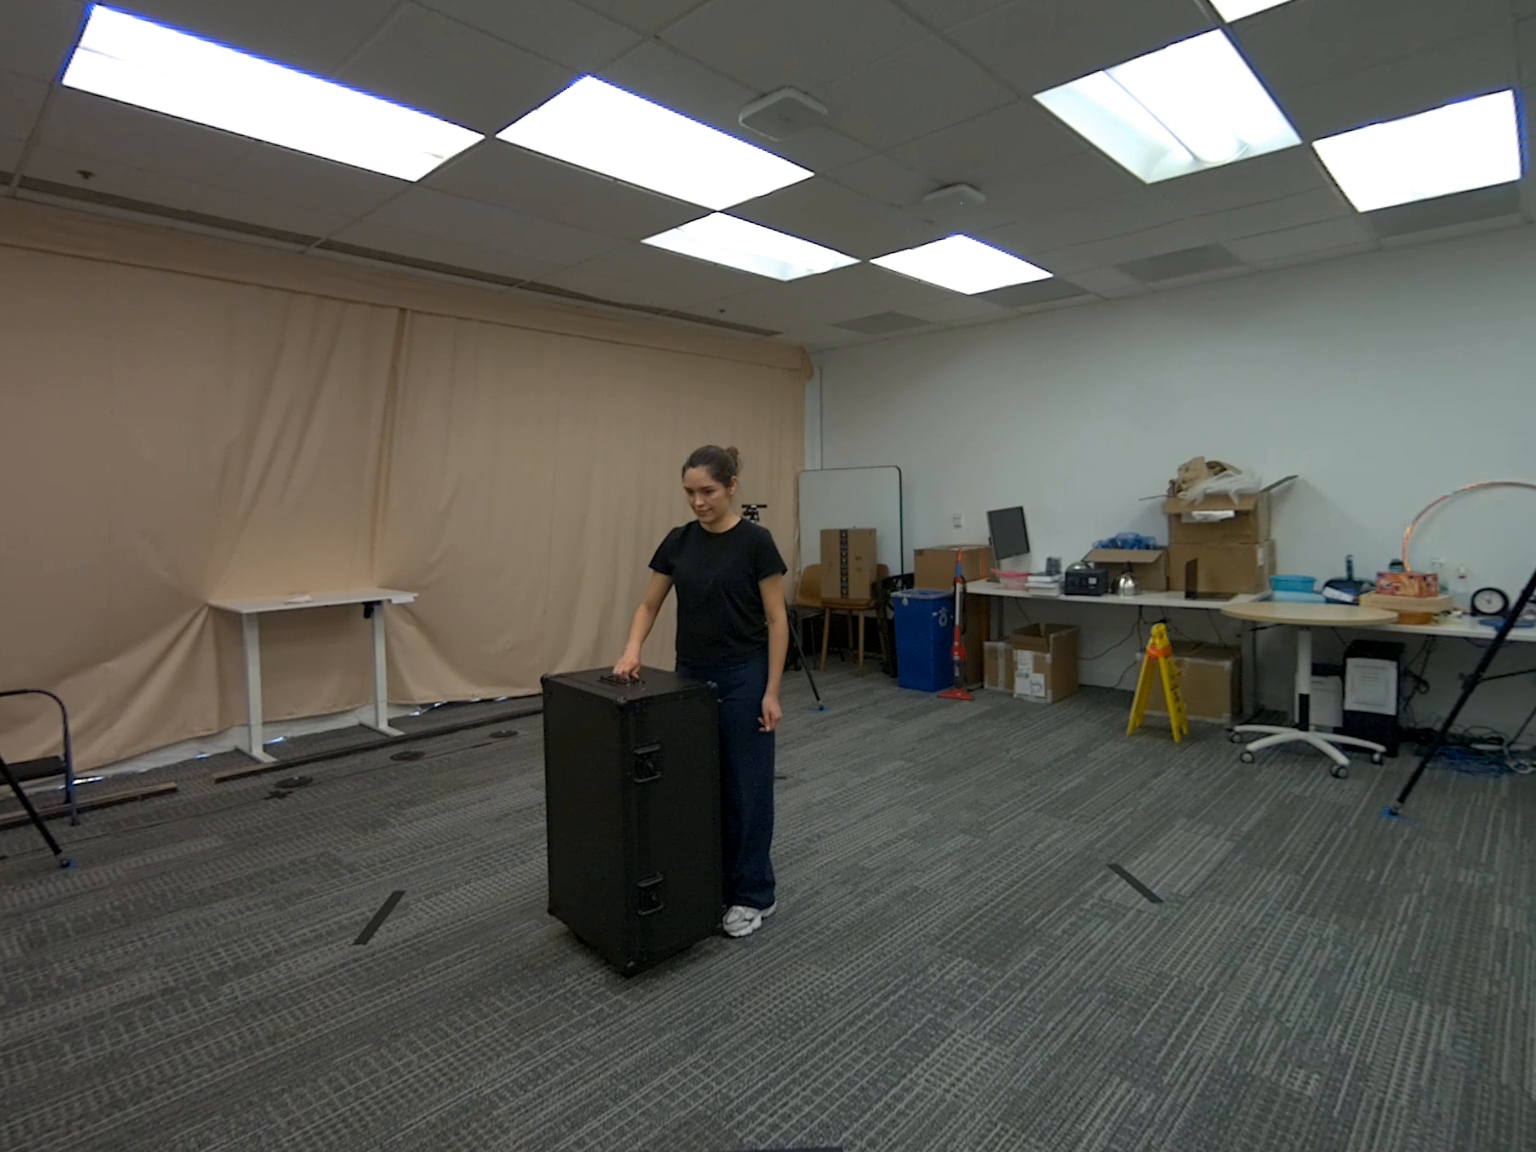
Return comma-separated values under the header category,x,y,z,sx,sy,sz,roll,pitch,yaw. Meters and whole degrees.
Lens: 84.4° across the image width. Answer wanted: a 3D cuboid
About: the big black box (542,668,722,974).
category,x,y,z,sx,sy,sz,roll,pitch,yaw
big black box,-0.410,0.692,2.669,0.384,0.860,0.538,-3,4,-41
